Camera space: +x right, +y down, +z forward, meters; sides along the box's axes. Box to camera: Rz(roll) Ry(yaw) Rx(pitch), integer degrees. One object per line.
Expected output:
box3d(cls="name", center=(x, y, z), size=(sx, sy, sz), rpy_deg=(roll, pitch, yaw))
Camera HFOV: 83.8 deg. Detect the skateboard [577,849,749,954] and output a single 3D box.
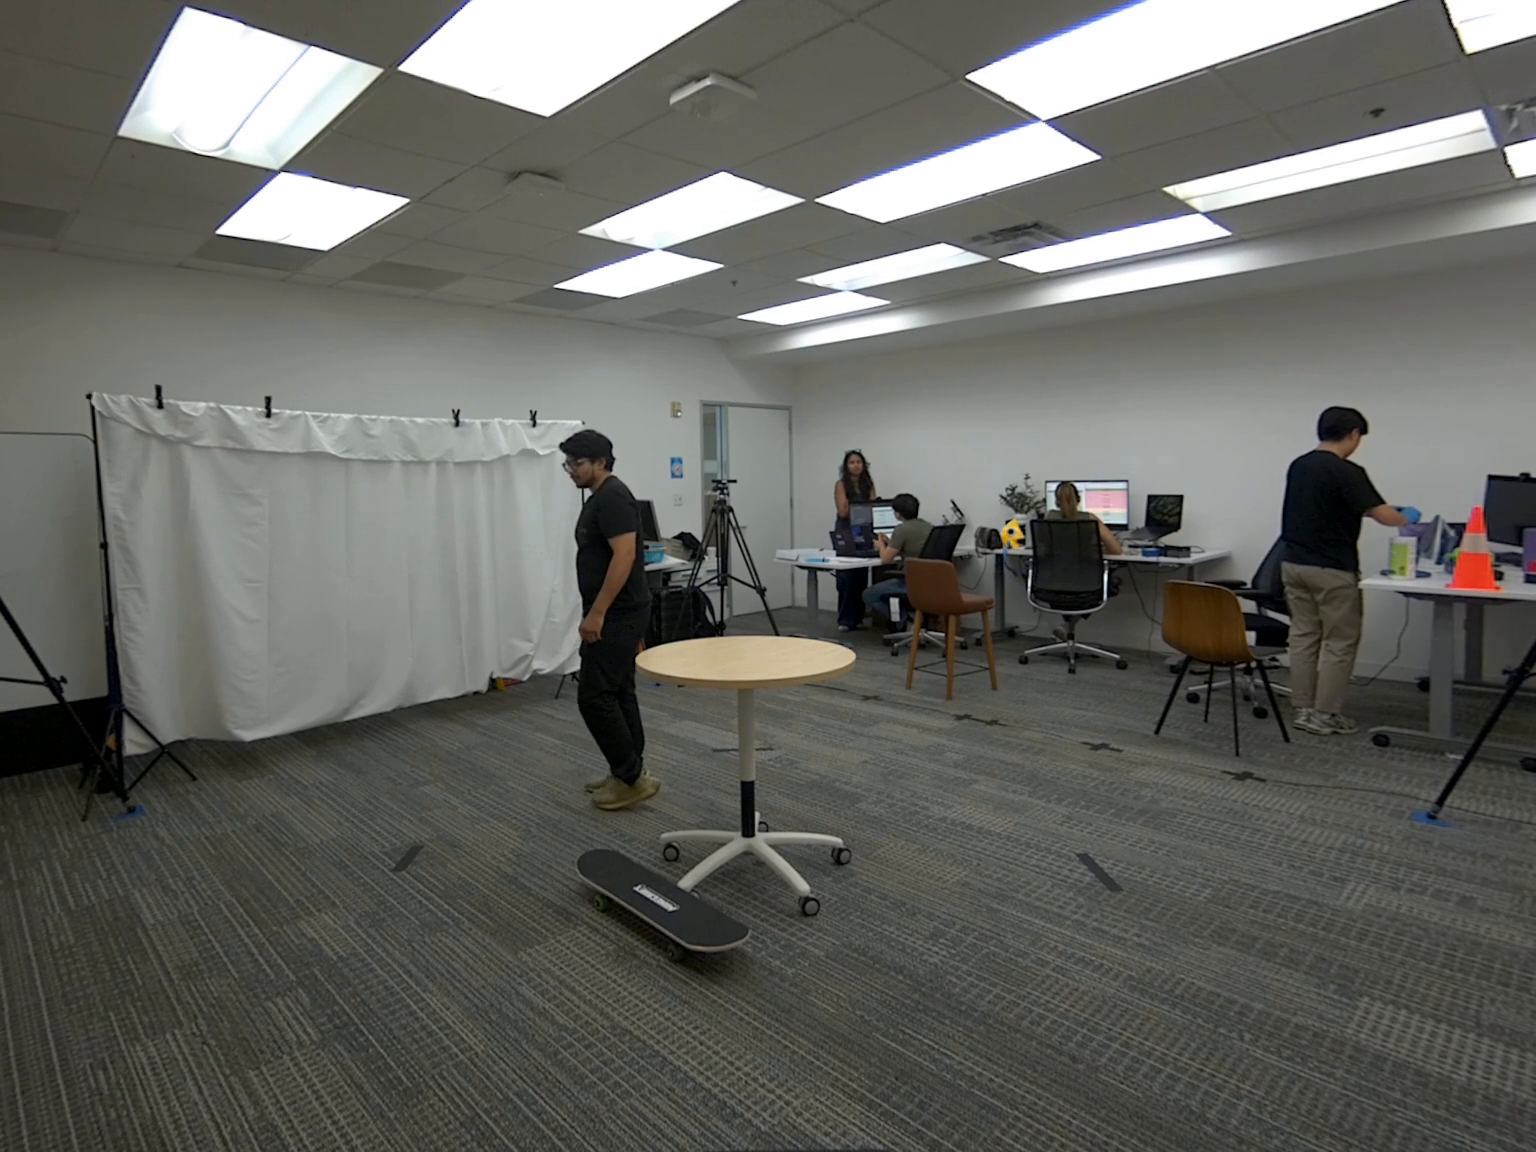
box3d(cls="skateboard", center=(-0.353, 1.047, 2.691), size=(0.188, 0.110, 0.810), rpy_deg=(-7, 9, -42))
